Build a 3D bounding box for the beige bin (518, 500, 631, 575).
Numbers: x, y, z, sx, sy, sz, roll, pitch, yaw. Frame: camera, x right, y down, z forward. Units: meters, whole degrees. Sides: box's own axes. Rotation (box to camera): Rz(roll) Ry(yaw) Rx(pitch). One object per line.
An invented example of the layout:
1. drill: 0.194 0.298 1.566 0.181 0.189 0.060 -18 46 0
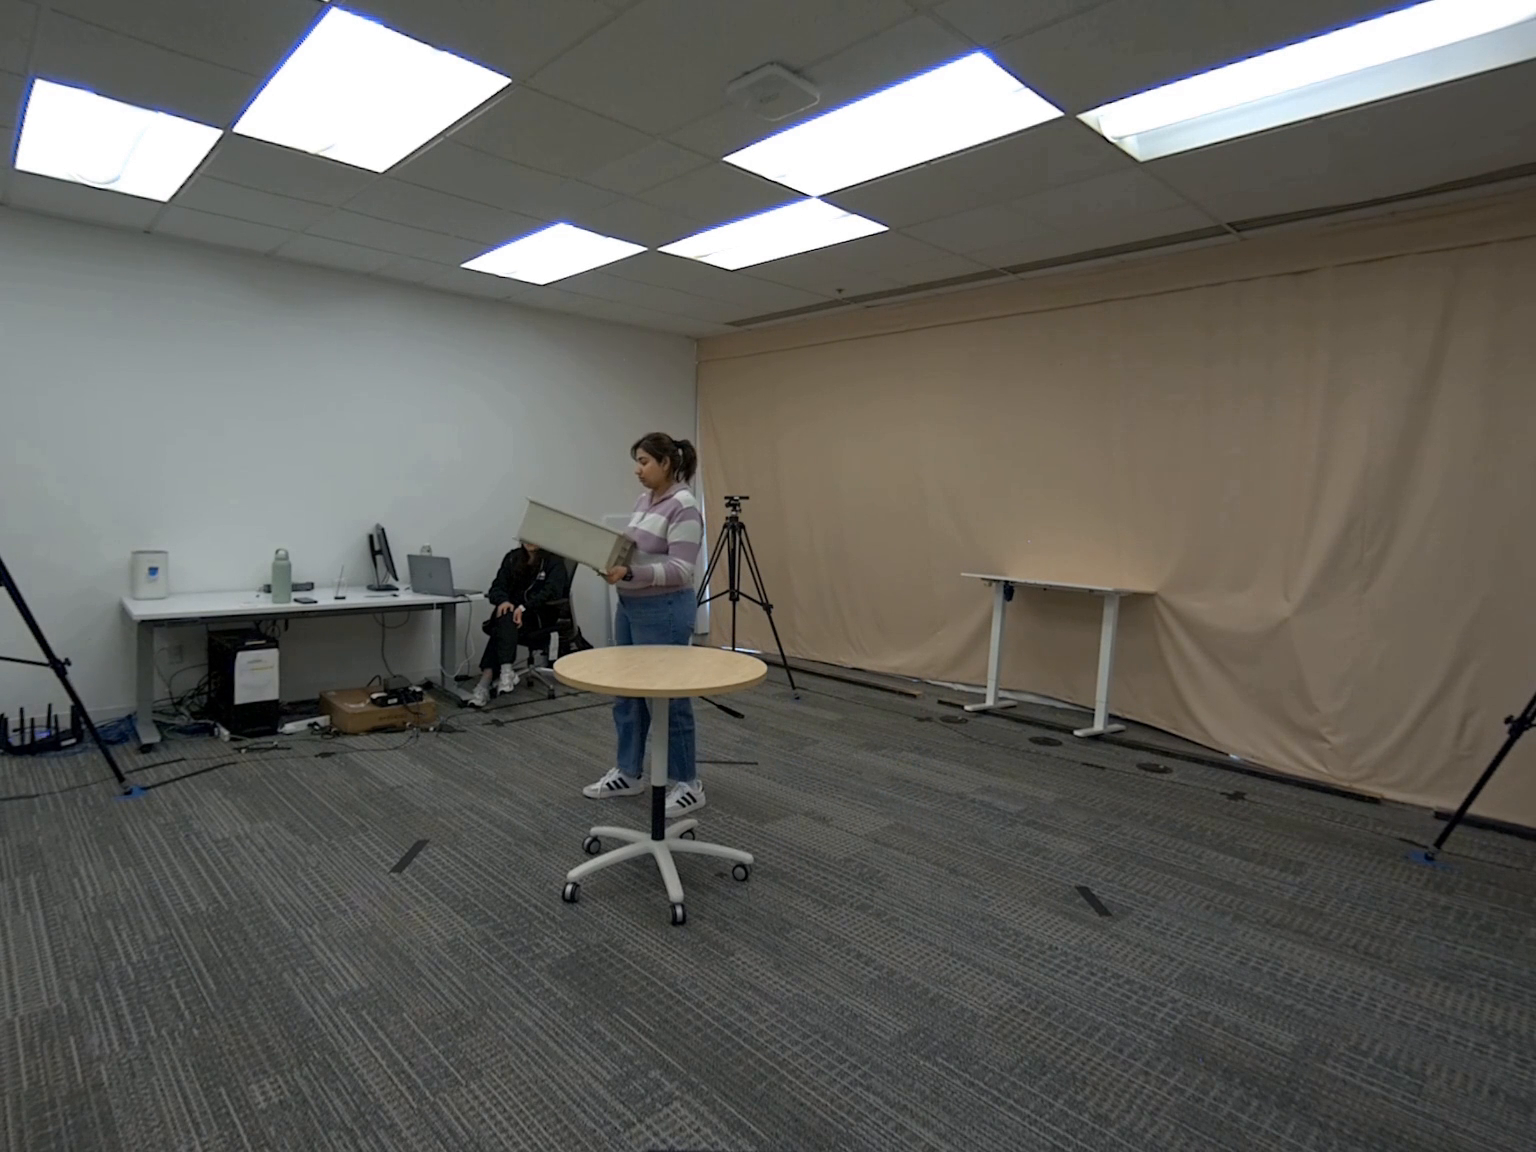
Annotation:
1. beige bin: -0.805 -0.151 3.529 0.424 0.189 0.375 21 -3 3
